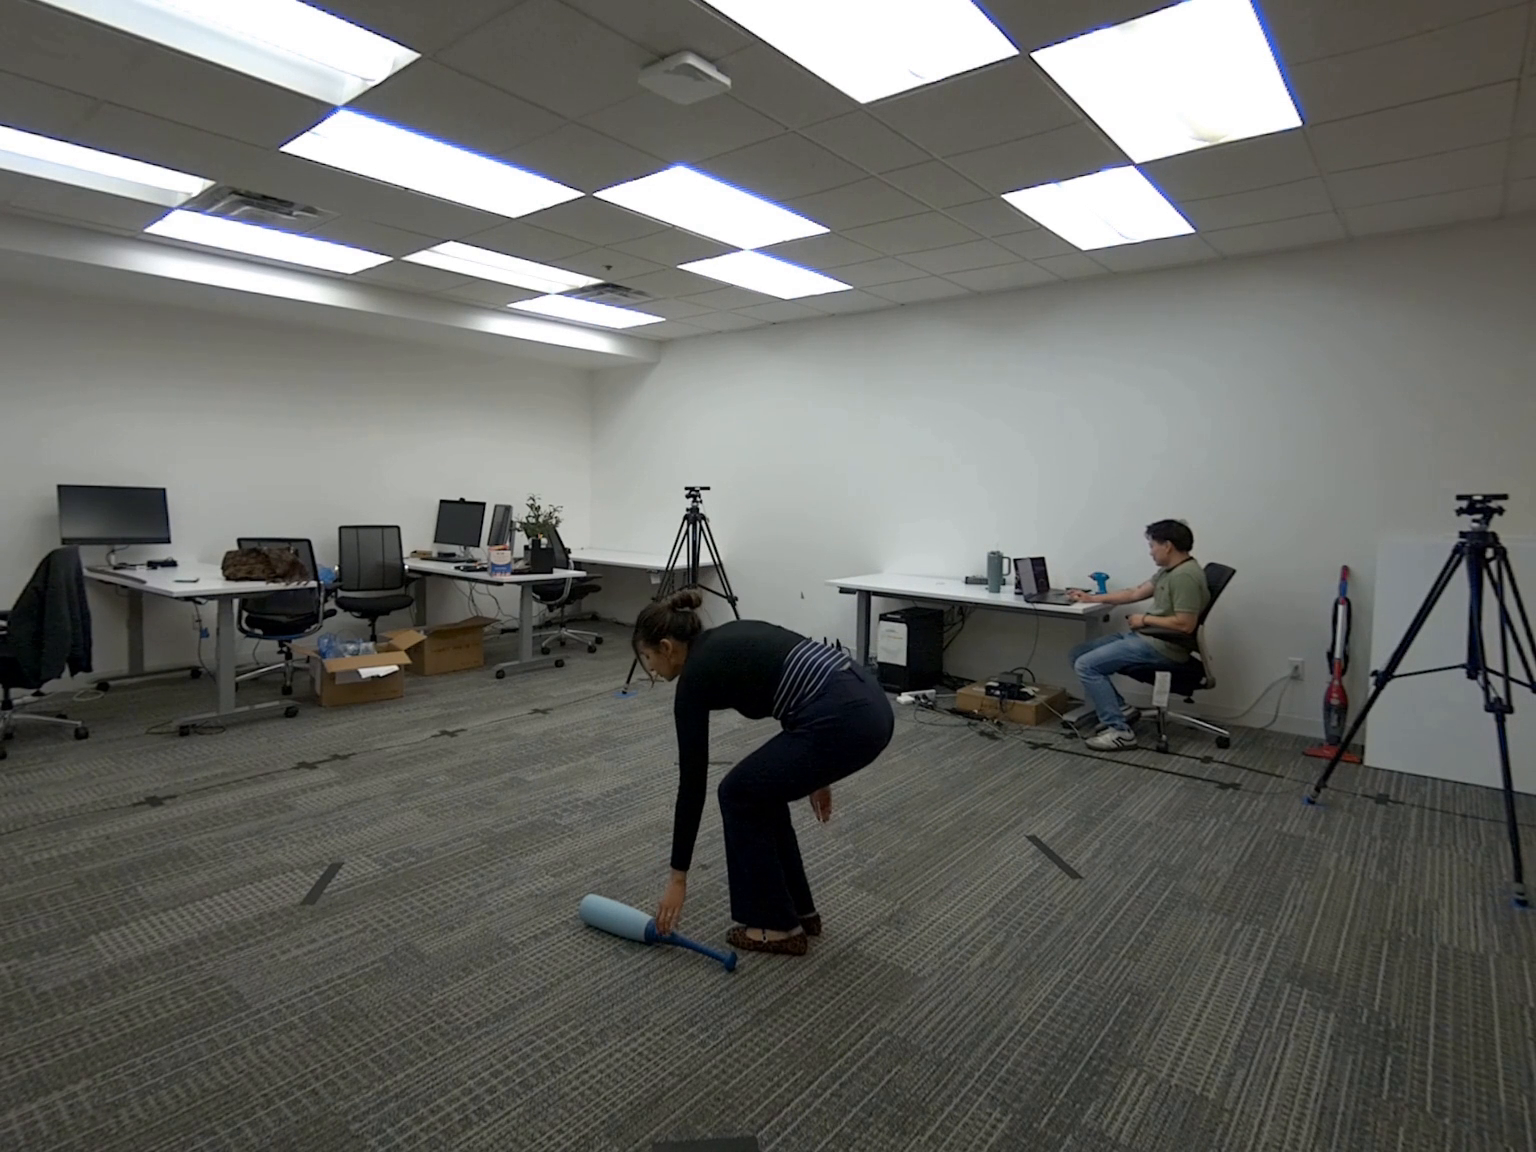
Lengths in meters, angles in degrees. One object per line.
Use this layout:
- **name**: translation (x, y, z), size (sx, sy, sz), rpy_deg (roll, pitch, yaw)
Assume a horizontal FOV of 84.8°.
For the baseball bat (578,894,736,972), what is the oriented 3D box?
- **baseball bat**: translation (-0.349, 1.081, 2.577), size (0.559, 0.088, 0.087), rpy_deg (7, 6, 28)
